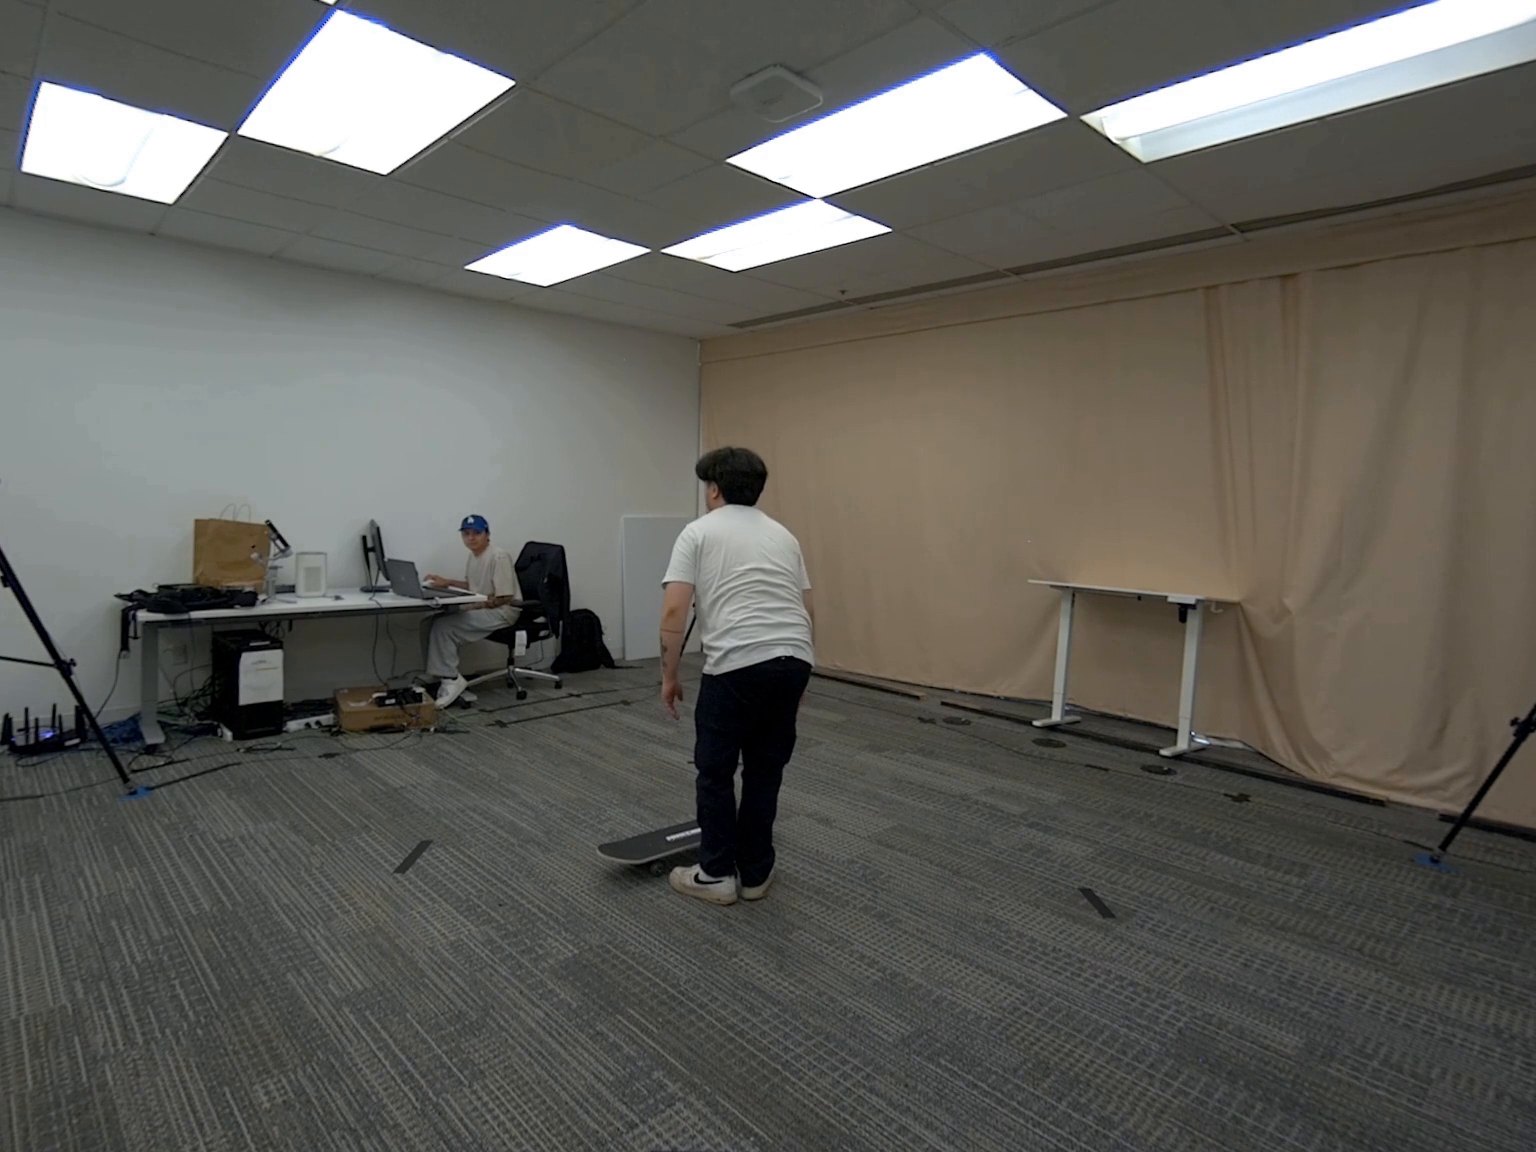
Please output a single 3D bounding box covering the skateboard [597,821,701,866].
[{"bbox_3d":[-0.319,1.027,3.270,0.767,0.110,0.198,-3,6,-41],"label":"skateboard"}]
